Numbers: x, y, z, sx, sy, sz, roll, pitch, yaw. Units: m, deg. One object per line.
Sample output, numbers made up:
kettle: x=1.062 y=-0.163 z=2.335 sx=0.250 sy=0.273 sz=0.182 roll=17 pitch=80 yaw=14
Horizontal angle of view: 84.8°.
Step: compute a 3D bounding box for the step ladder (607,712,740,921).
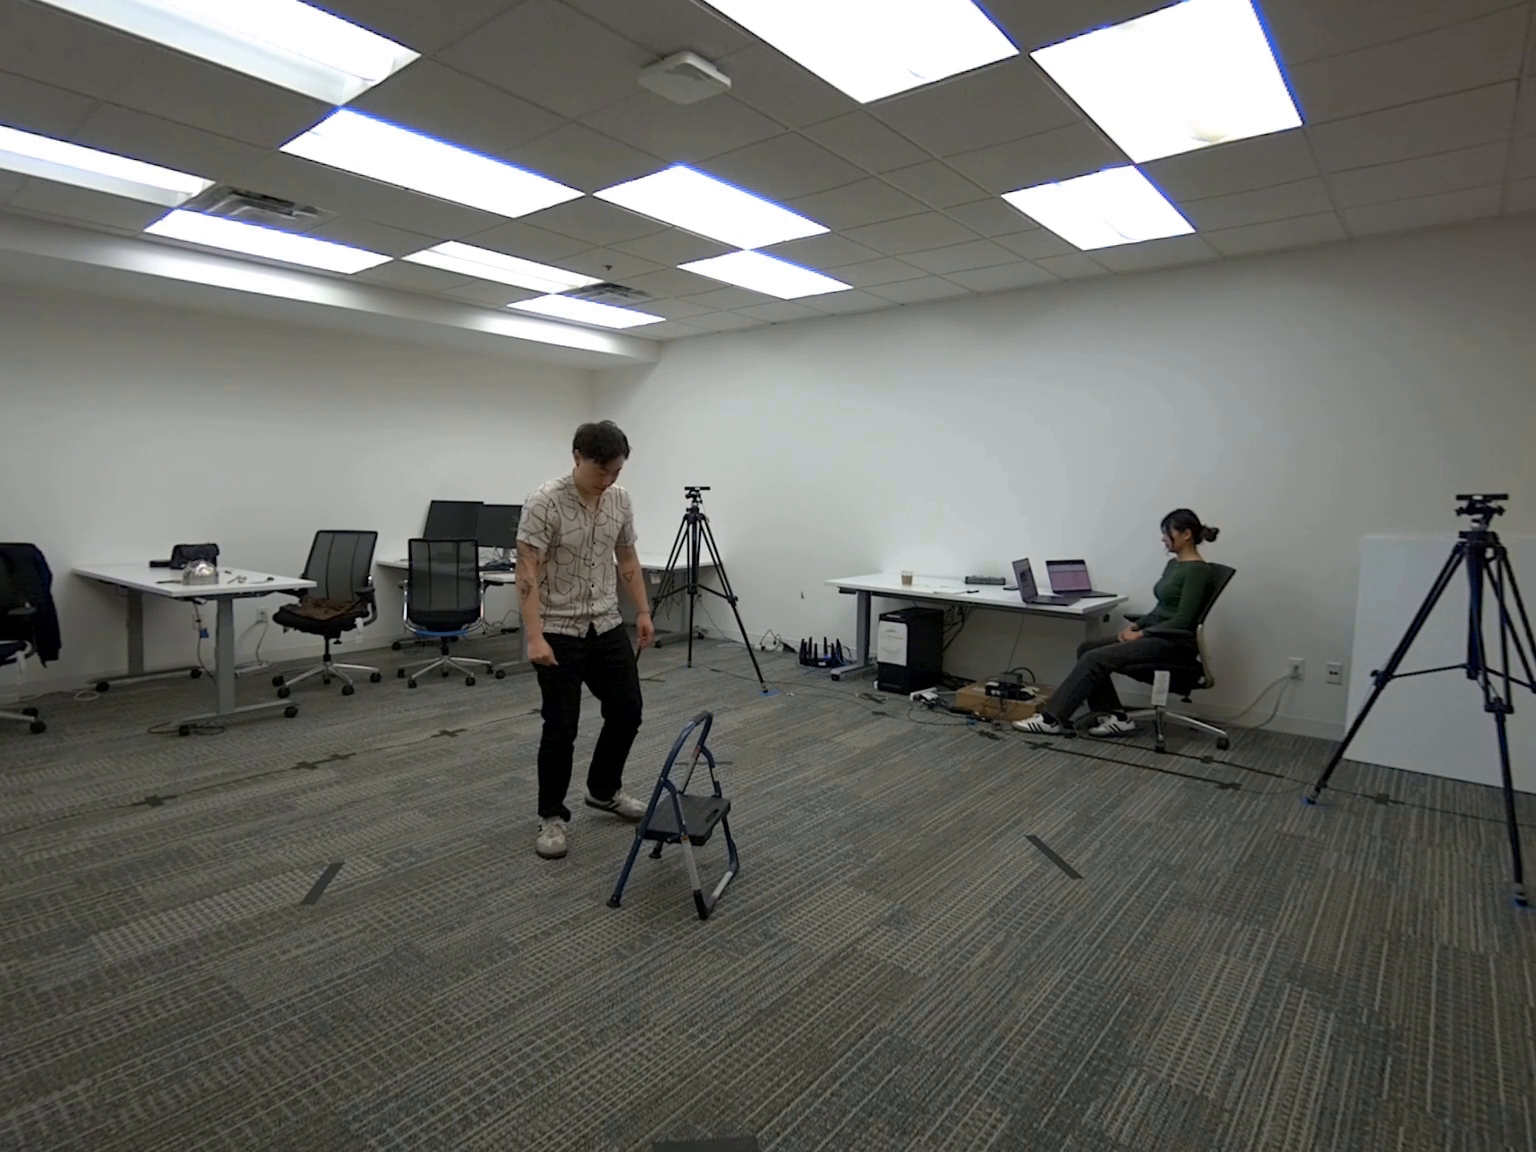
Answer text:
step ladder: x=-0.321 y=0.776 z=2.948 sx=0.355 sy=0.604 sz=0.425 roll=1 pitch=3 yaw=14
